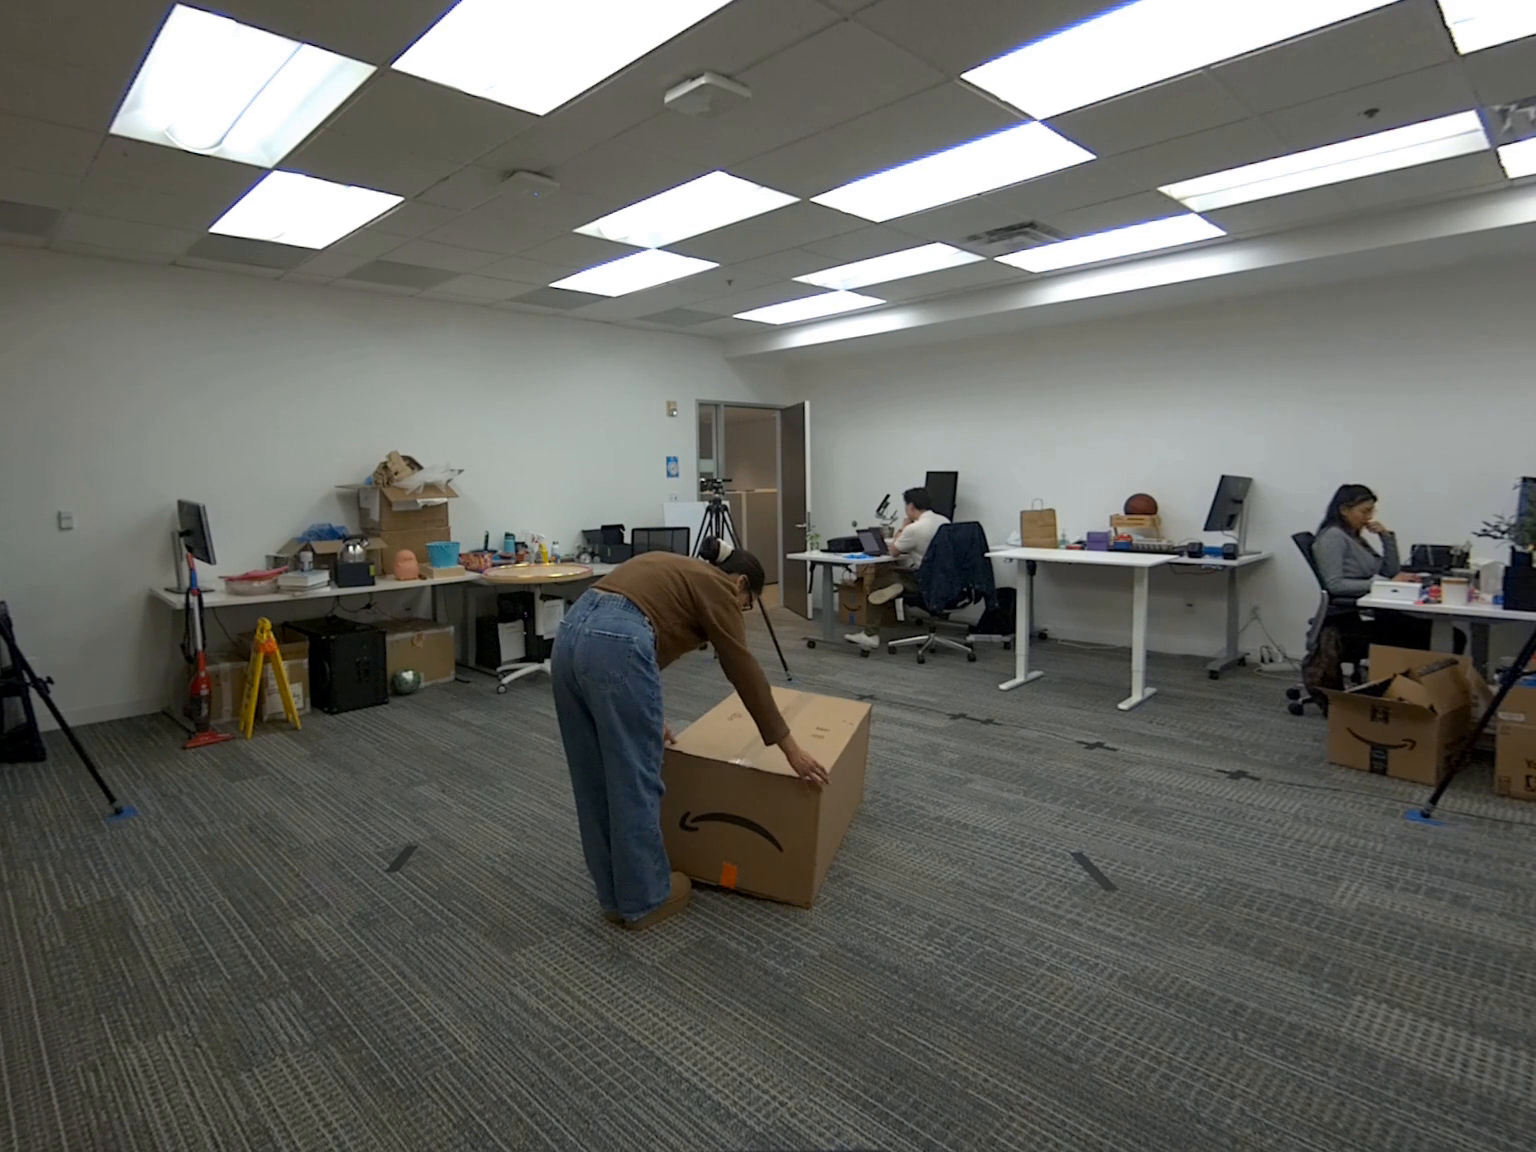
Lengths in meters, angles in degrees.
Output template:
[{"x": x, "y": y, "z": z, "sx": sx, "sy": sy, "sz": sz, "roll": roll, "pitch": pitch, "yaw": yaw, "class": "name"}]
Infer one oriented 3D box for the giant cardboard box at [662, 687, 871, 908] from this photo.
[{"x": 0.028, "y": 0.781, "z": 3.328, "sx": 0.594, "sy": 0.445, "sz": 1.013, "roll": 5, "pitch": 7, "yaw": 16, "class": "giant cardboard box"}]
